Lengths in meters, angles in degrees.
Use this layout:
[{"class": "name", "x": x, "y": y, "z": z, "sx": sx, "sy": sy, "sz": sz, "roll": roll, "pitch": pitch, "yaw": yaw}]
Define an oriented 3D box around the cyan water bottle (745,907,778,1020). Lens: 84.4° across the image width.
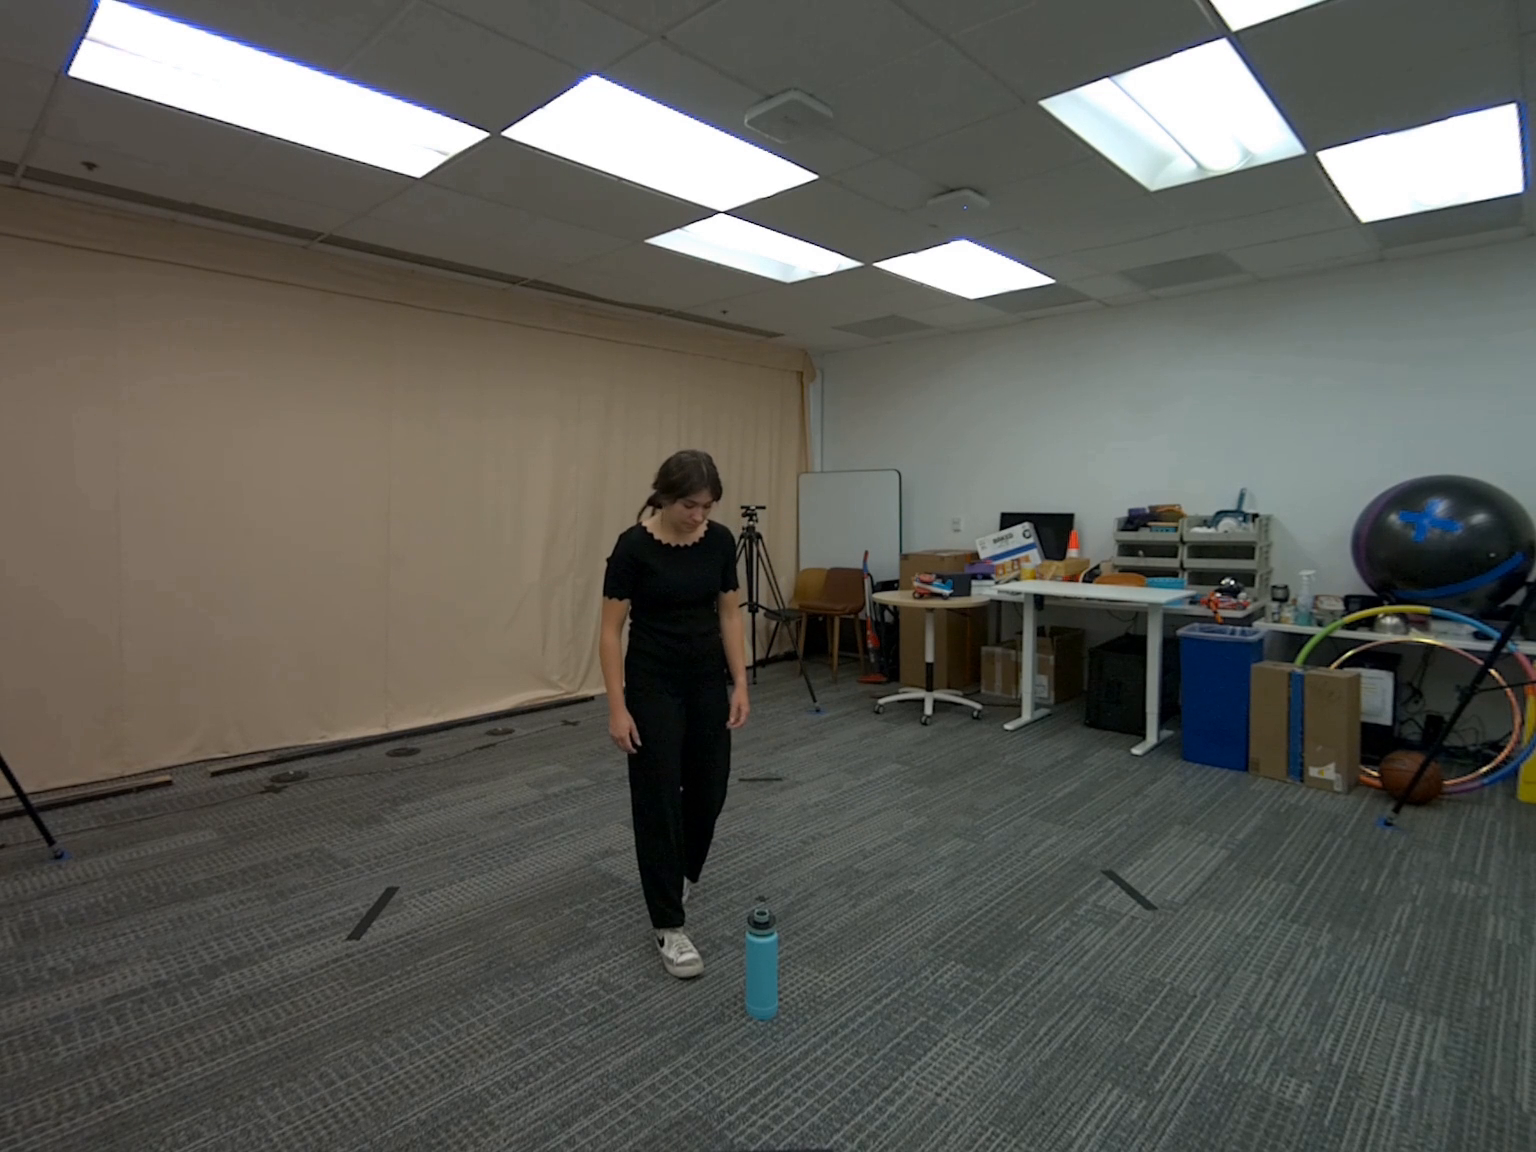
[{"class": "cyan water bottle", "x": -0.018, "y": 1.060, "z": 2.310, "sx": 0.092, "sy": 0.283, "sz": 0.092, "roll": -1, "pitch": 2, "yaw": -2}]
